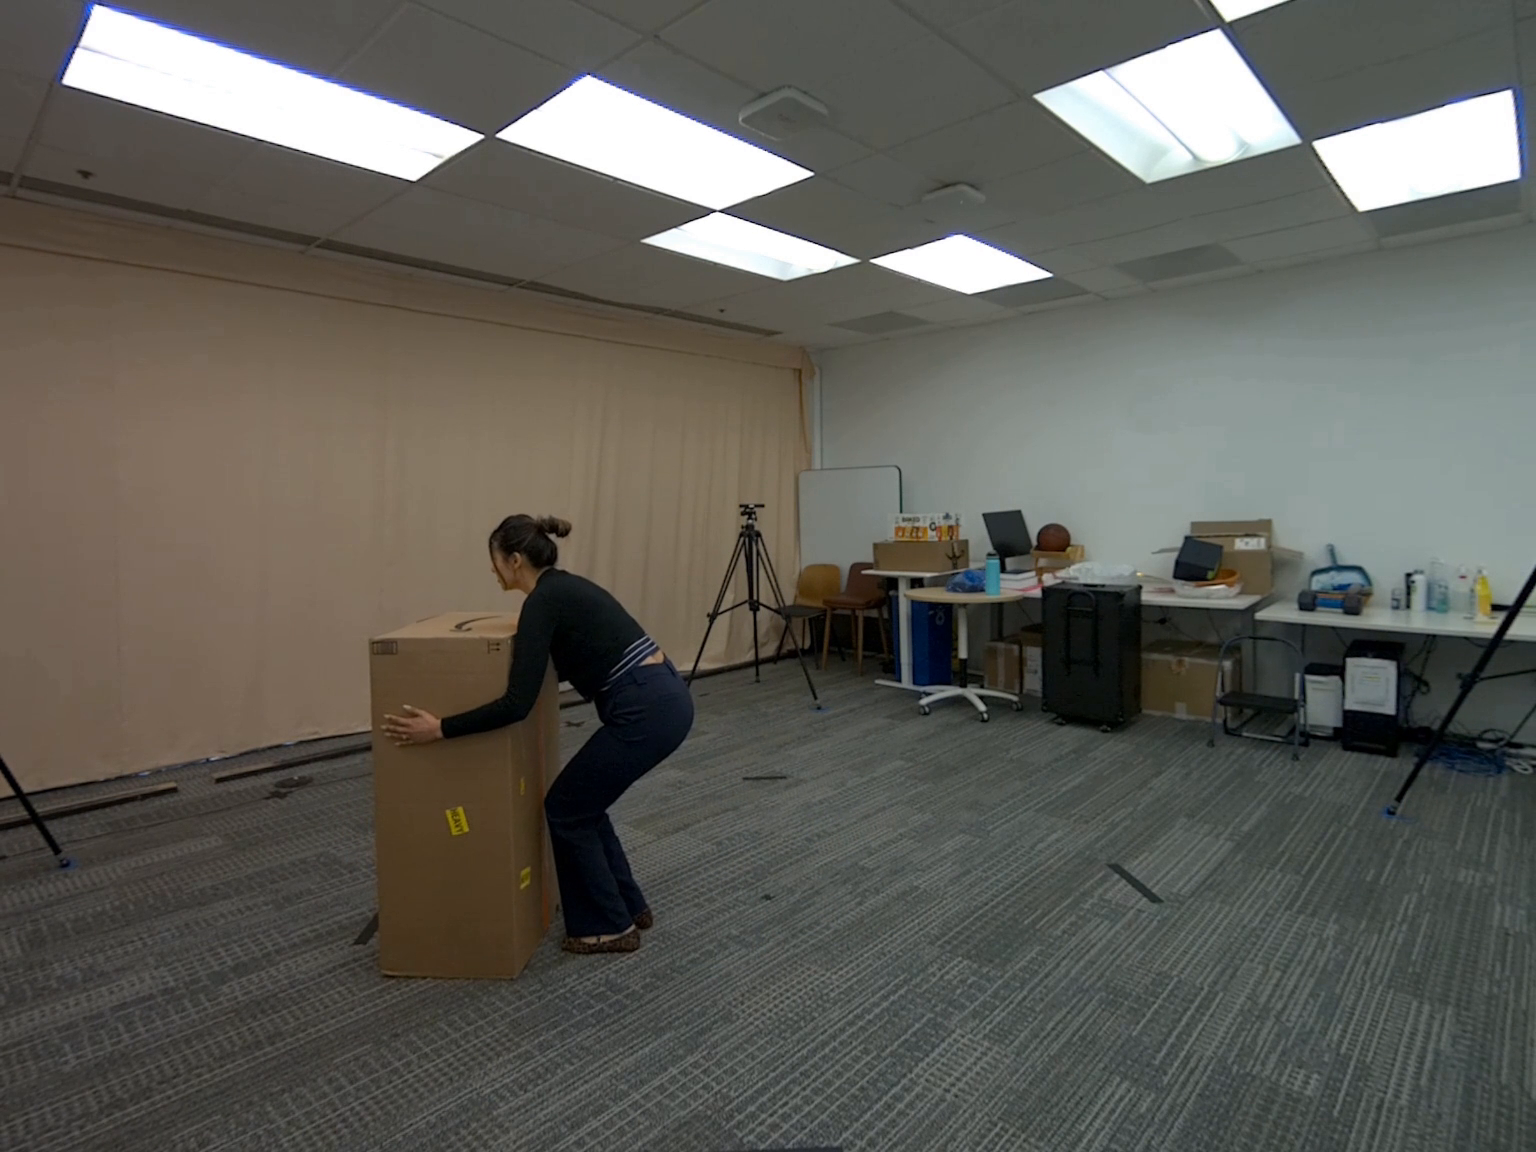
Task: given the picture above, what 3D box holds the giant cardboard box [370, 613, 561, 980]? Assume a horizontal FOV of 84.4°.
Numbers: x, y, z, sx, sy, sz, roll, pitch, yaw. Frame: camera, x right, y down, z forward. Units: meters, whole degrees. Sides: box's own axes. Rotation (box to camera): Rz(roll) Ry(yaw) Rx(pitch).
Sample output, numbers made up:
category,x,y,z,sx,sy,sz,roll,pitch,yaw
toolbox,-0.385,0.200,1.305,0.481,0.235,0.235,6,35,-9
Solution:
category,x,y,z,sx,sy,sz,roll,pitch,yaw
giant cardboard box,-0.961,0.669,2.767,0.427,1.024,0.577,-1,3,1
